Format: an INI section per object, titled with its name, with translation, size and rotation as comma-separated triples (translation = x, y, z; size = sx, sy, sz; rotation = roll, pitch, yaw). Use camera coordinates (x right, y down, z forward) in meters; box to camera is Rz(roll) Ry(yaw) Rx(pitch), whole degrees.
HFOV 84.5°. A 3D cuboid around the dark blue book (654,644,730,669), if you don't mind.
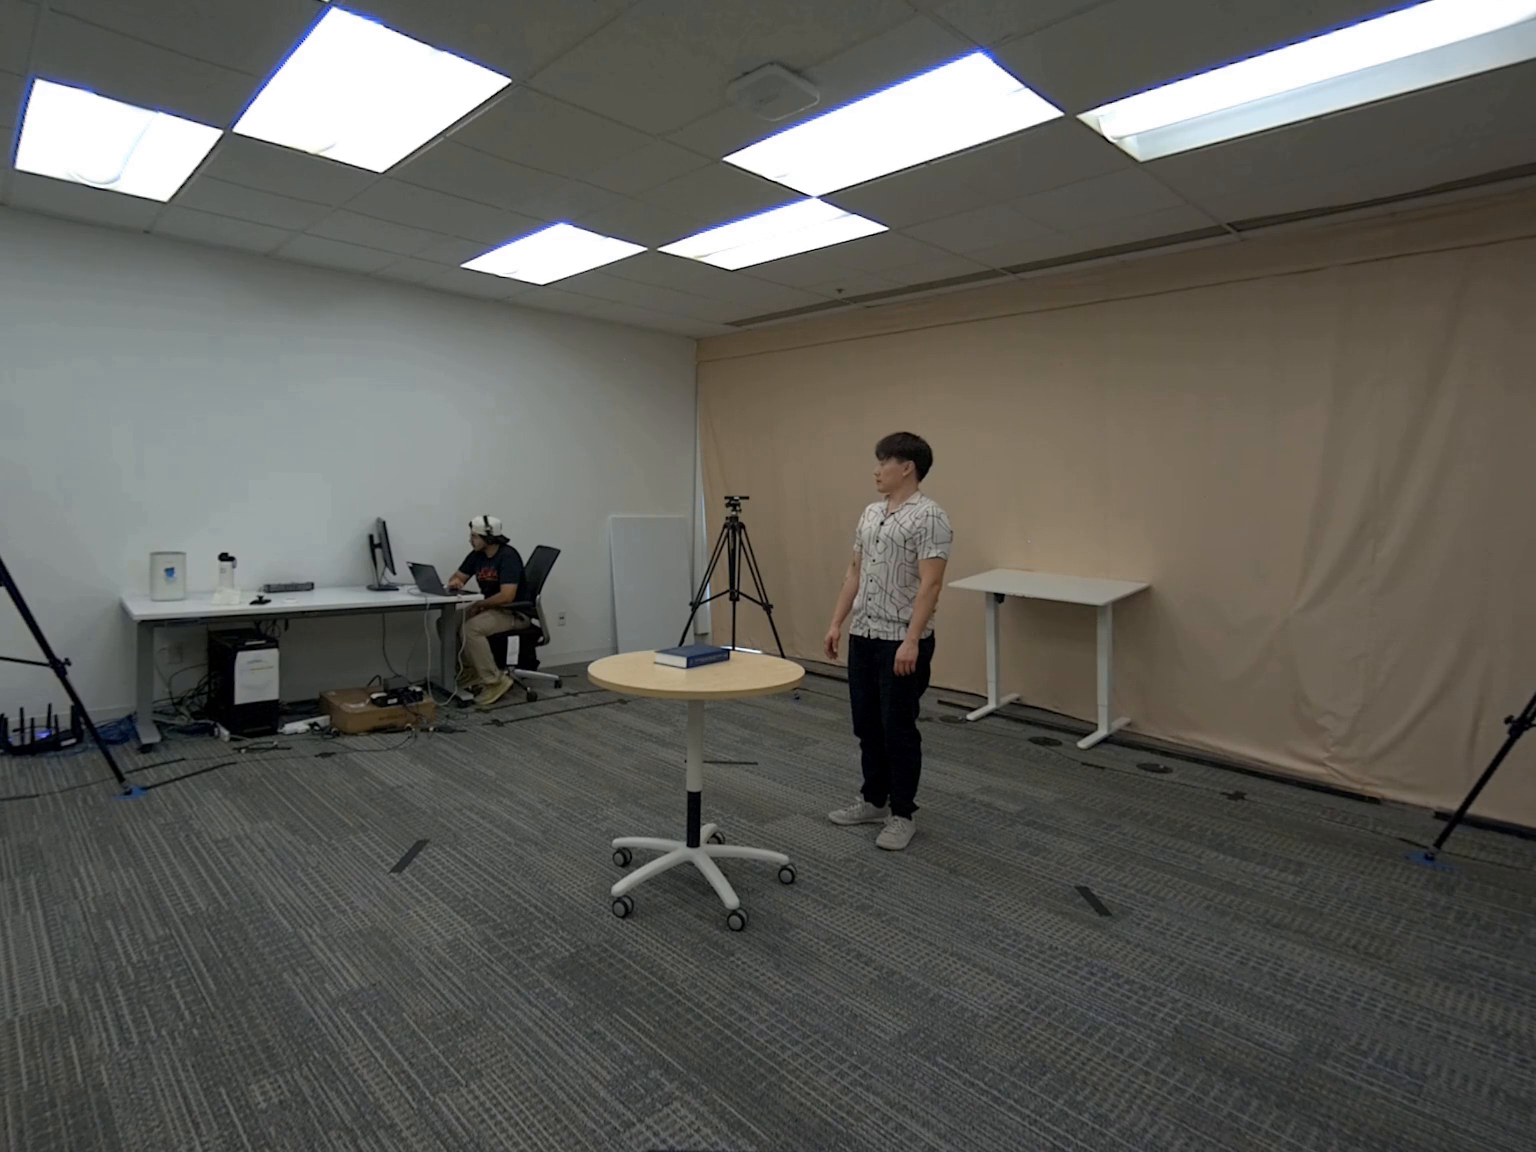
[dark blue book]
translation = -0.290, 0.294, 3.107
size = 0.167, 0.045, 0.240
rotation = 5, 6, 37
